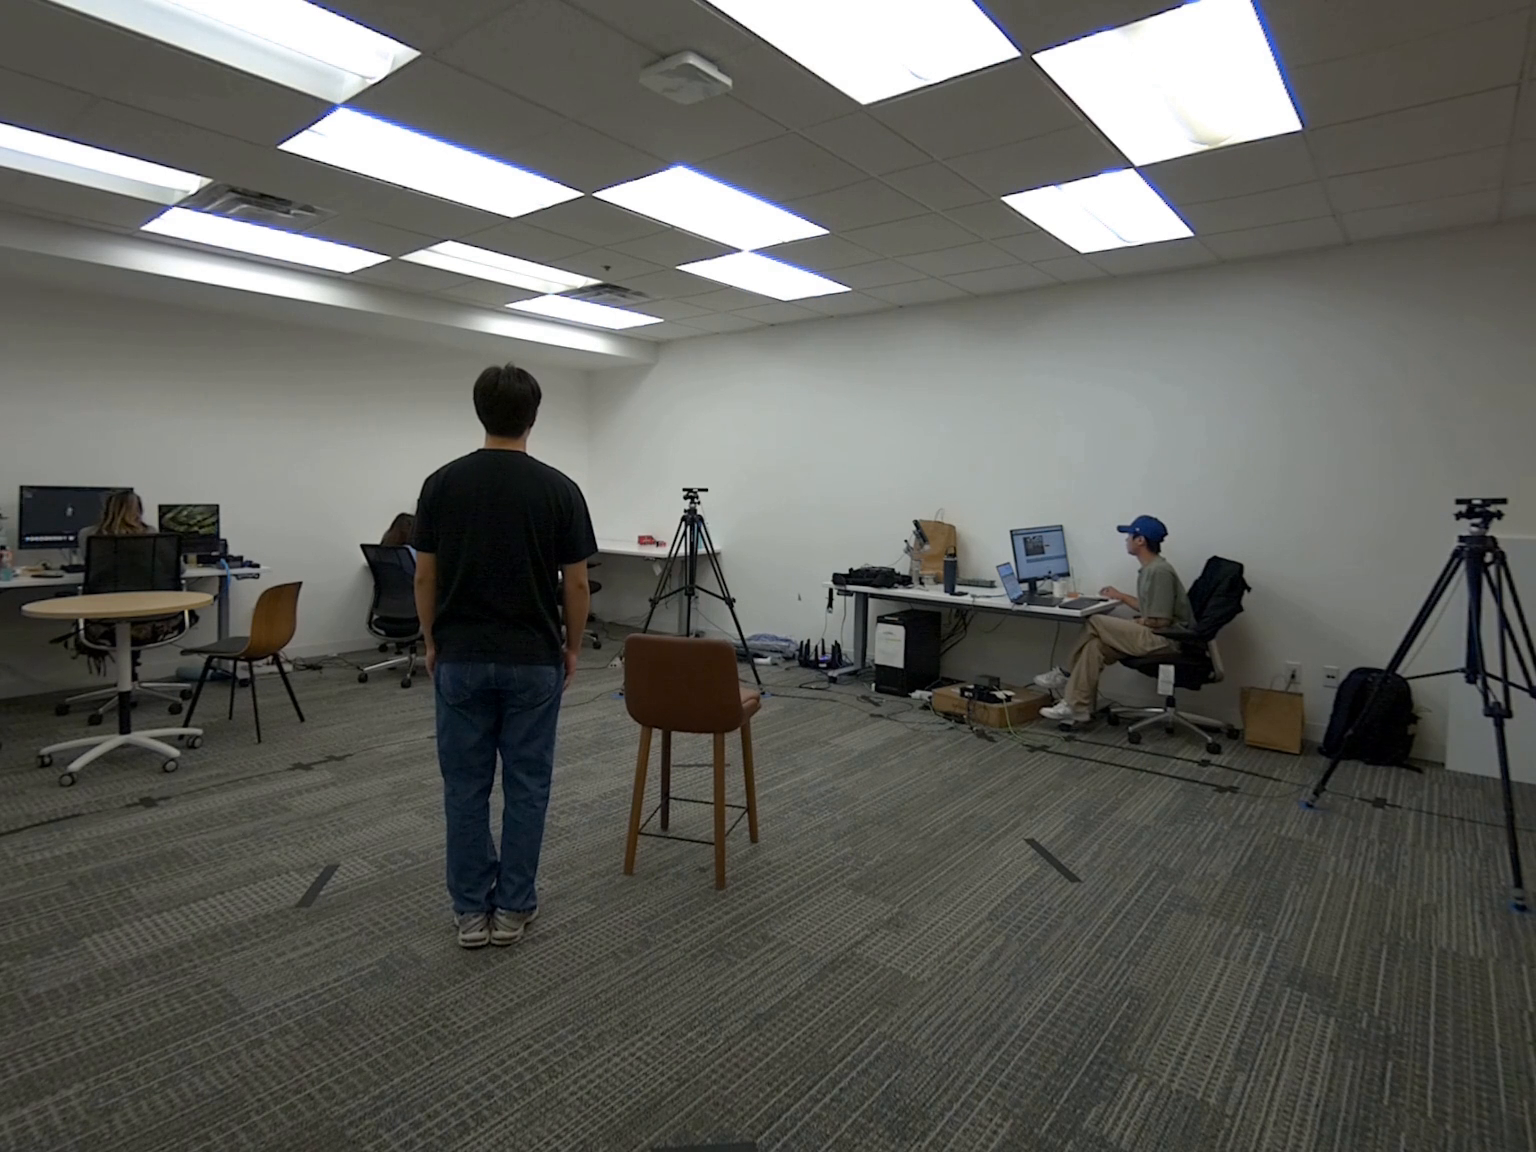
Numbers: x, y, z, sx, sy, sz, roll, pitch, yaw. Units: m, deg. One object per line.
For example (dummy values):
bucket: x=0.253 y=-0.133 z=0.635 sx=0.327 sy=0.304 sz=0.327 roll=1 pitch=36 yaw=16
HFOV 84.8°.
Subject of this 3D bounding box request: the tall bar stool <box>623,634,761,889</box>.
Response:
tall bar stool: x=-0.293 y=0.626 z=3.193 sx=0.465 sy=0.886 sz=0.461 roll=1 pitch=5 yaw=16
